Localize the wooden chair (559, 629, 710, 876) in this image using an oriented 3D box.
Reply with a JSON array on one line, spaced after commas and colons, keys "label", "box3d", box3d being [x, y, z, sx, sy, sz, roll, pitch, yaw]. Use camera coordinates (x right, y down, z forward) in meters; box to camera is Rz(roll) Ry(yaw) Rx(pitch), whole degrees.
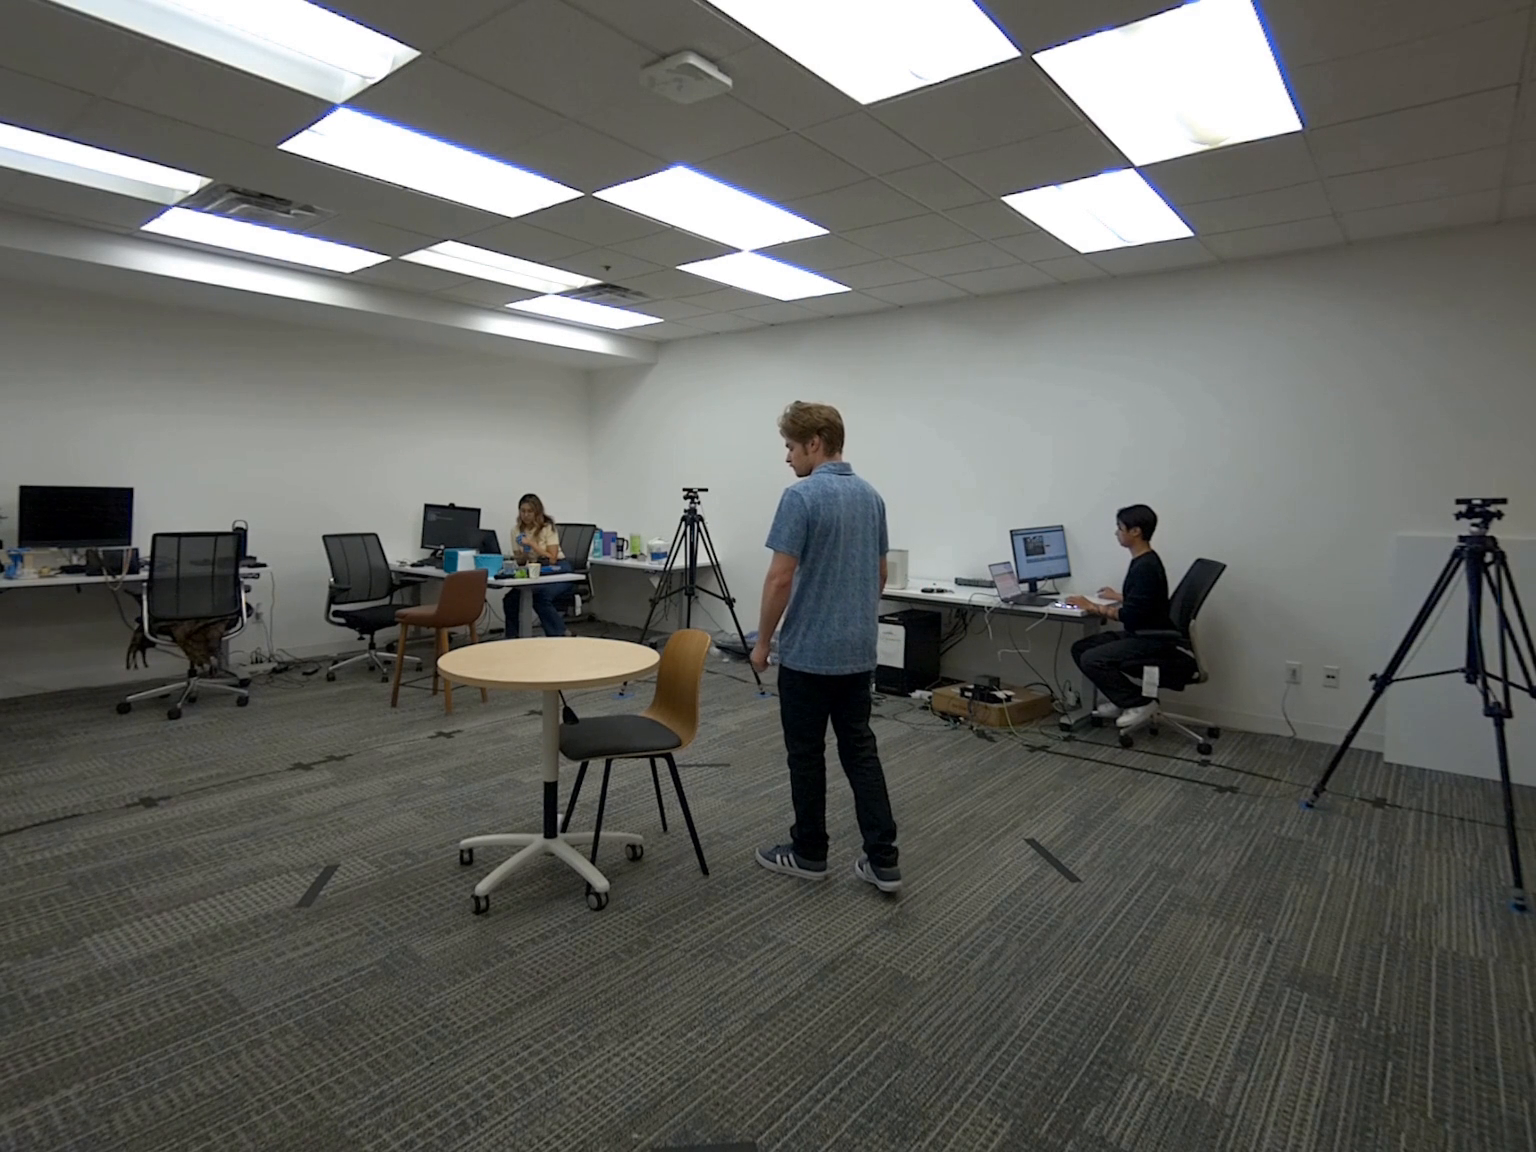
[{"label": "wooden chair", "box3d": [-0.517, 0.631, 3.149, 0.510, 0.876, 0.491, 4, 2, -26]}]
